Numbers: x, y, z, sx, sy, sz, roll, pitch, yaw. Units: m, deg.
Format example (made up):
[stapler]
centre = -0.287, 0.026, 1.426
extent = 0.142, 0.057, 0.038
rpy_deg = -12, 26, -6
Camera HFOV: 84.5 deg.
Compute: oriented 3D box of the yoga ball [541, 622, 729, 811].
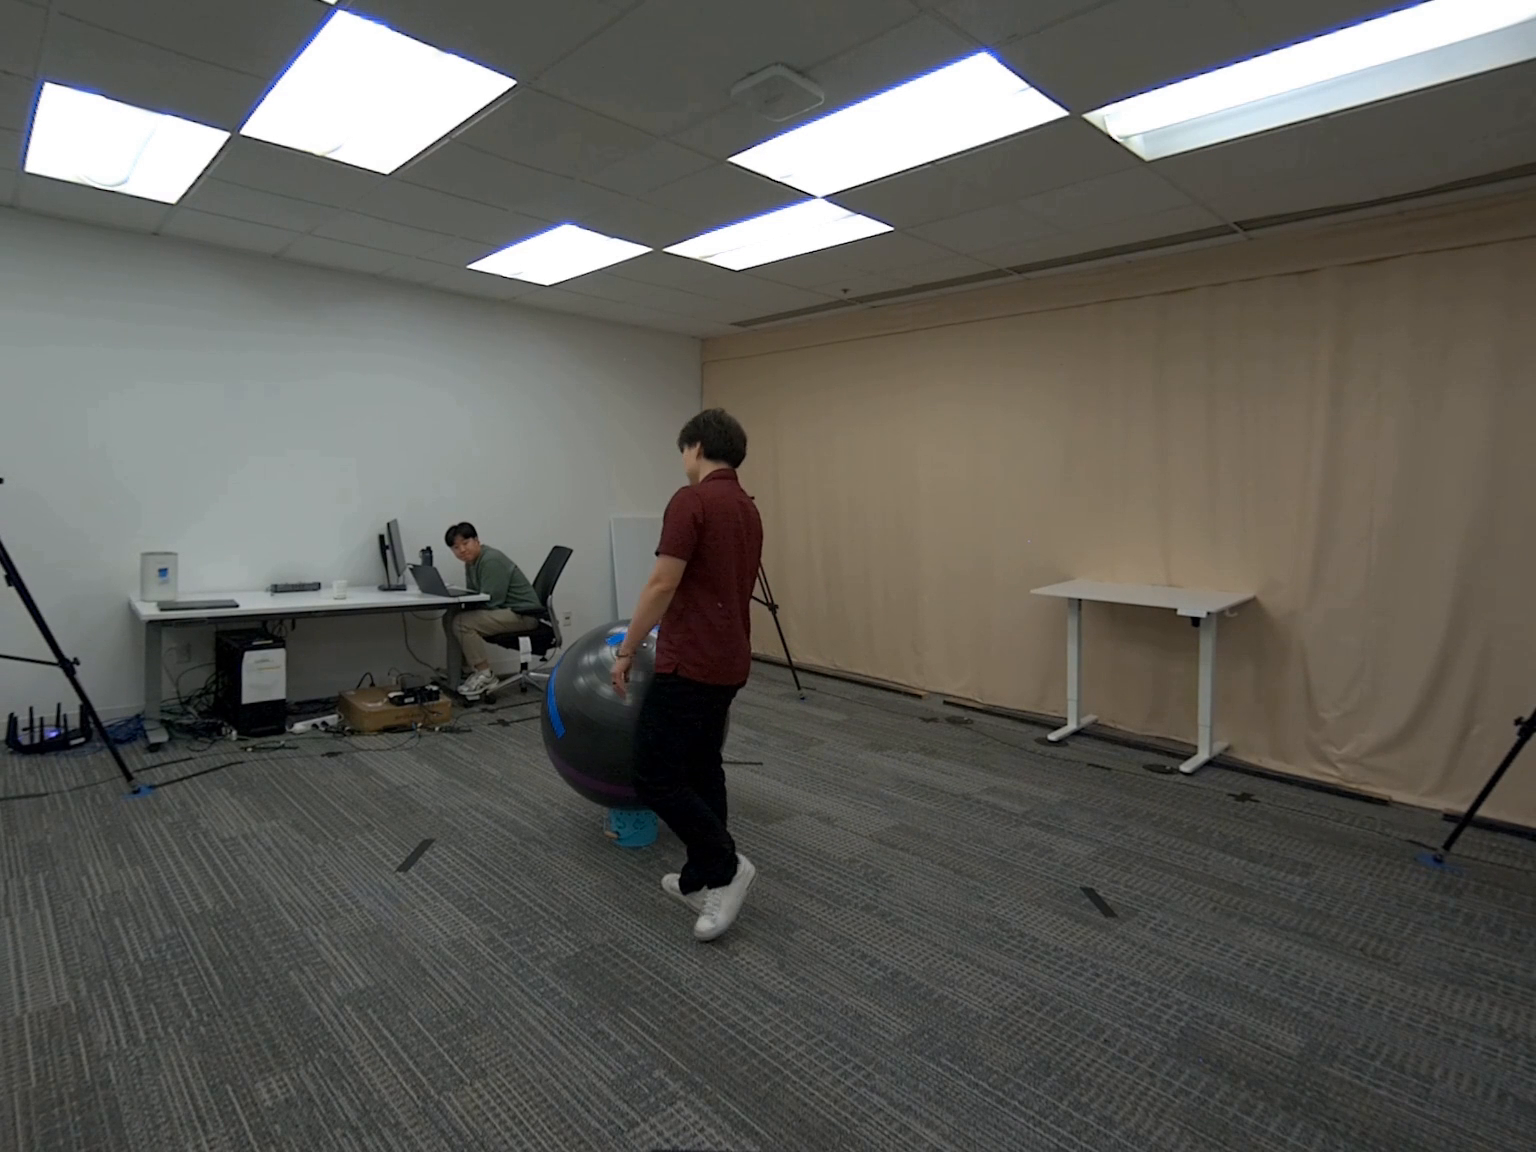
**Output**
[yoga ball]
centre = -0.542, 0.559, 3.412
extent = 0.757, 0.756, 0.761
rpy_deg = 1, 4, -1
